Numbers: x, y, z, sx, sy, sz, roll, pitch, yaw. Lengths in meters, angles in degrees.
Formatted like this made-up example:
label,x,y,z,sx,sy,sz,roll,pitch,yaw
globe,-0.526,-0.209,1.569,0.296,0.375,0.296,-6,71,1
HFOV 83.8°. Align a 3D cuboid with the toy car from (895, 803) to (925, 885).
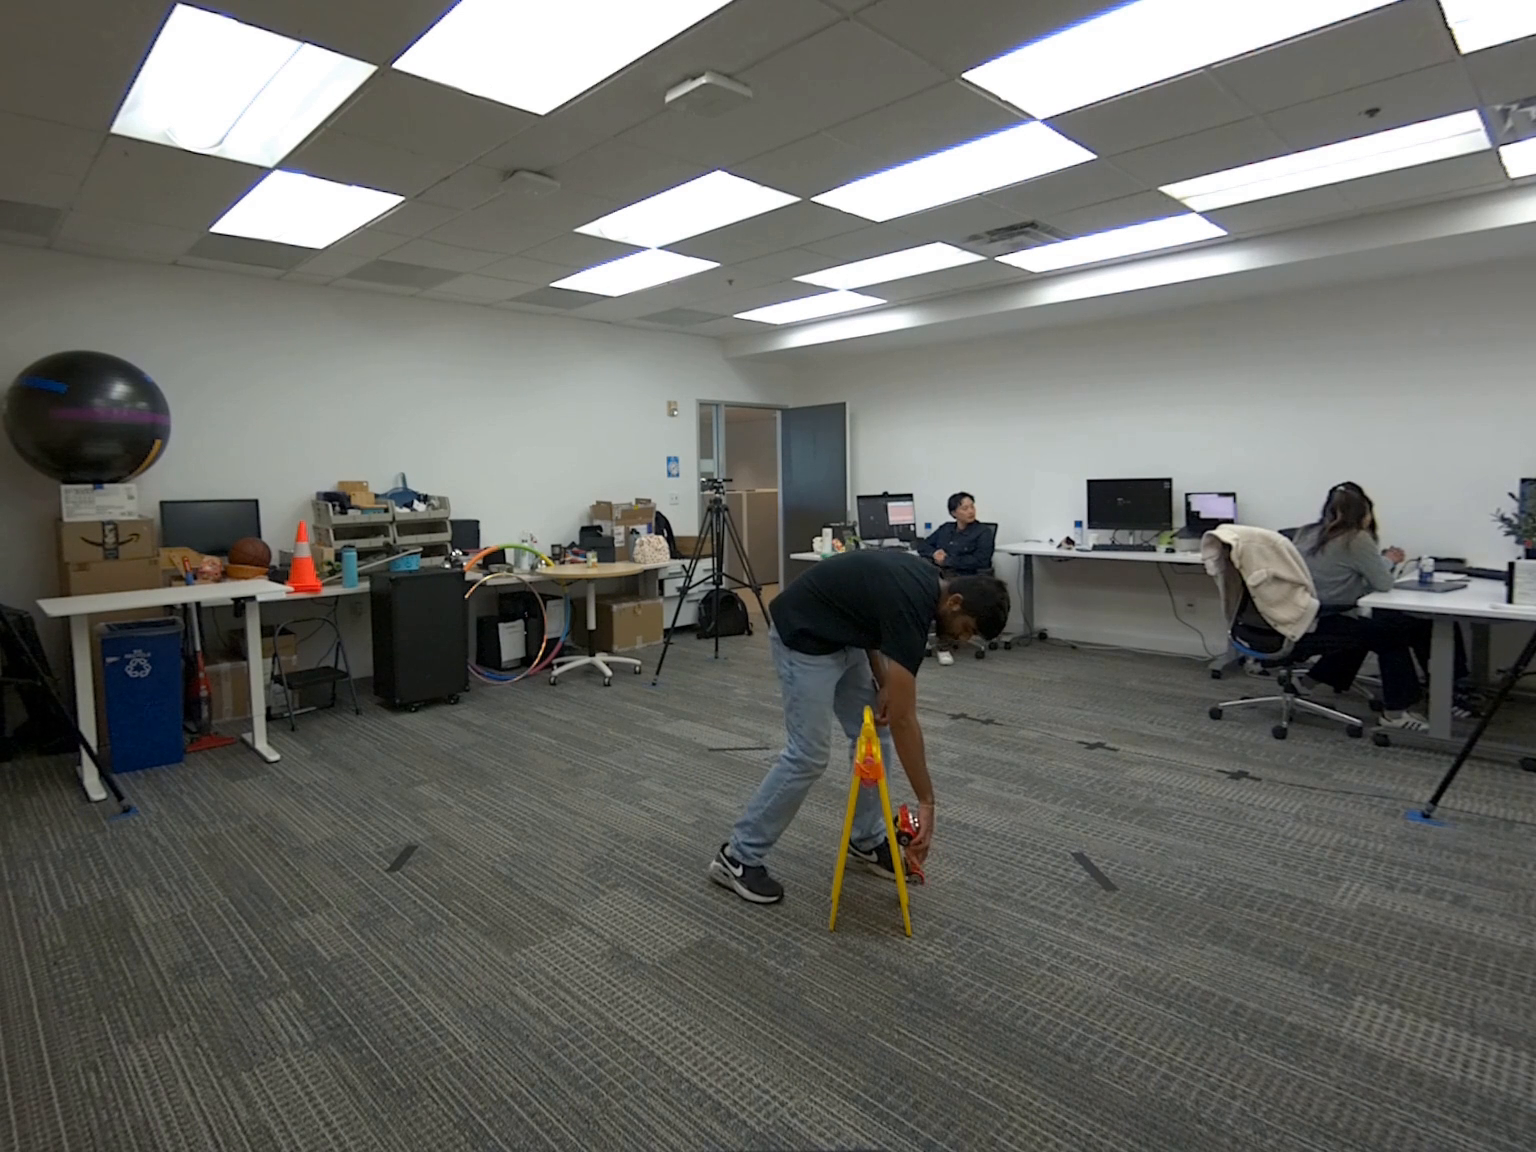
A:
label,x,y,z,sx,sy,sz,roll,pitch,yaw
toy car,0.444,0.849,2.710,0.084,0.251,0.131,-5,14,7
